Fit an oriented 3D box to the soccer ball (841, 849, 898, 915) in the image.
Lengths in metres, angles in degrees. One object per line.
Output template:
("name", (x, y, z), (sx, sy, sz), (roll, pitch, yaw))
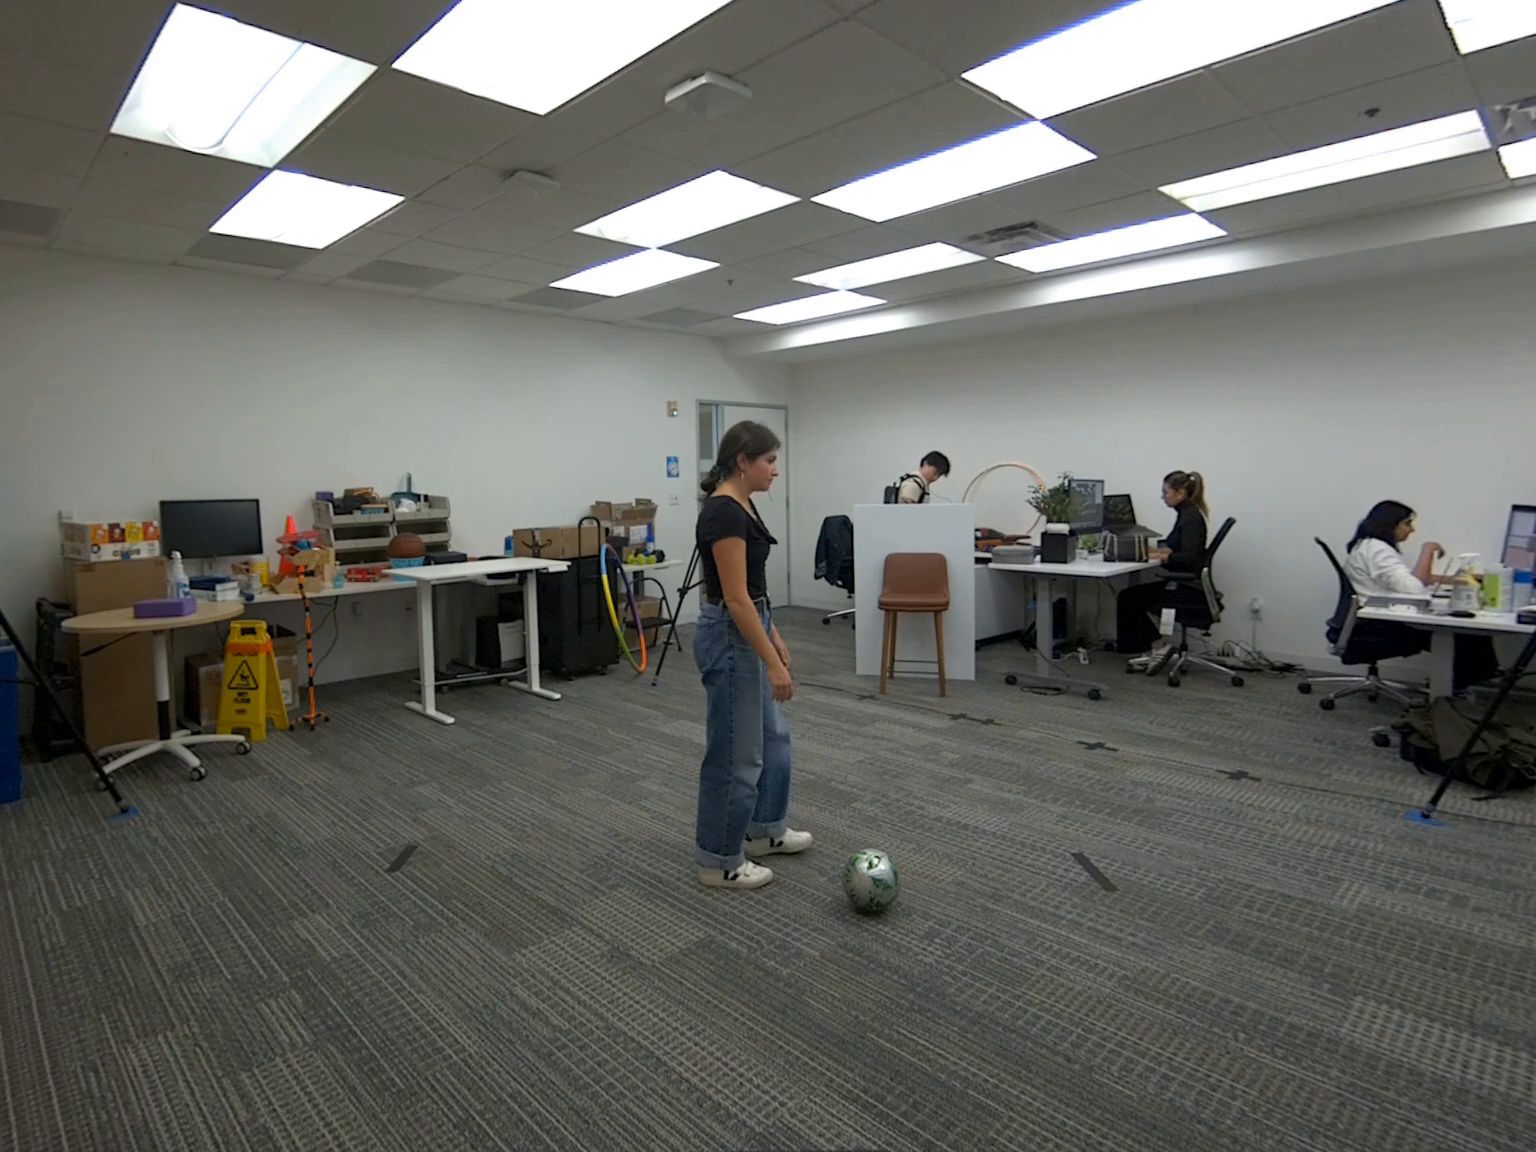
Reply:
("soccer ball", (0.340, 0.983, 2.766), (0.187, 0.187, 0.188), (-1, 5, -2))
